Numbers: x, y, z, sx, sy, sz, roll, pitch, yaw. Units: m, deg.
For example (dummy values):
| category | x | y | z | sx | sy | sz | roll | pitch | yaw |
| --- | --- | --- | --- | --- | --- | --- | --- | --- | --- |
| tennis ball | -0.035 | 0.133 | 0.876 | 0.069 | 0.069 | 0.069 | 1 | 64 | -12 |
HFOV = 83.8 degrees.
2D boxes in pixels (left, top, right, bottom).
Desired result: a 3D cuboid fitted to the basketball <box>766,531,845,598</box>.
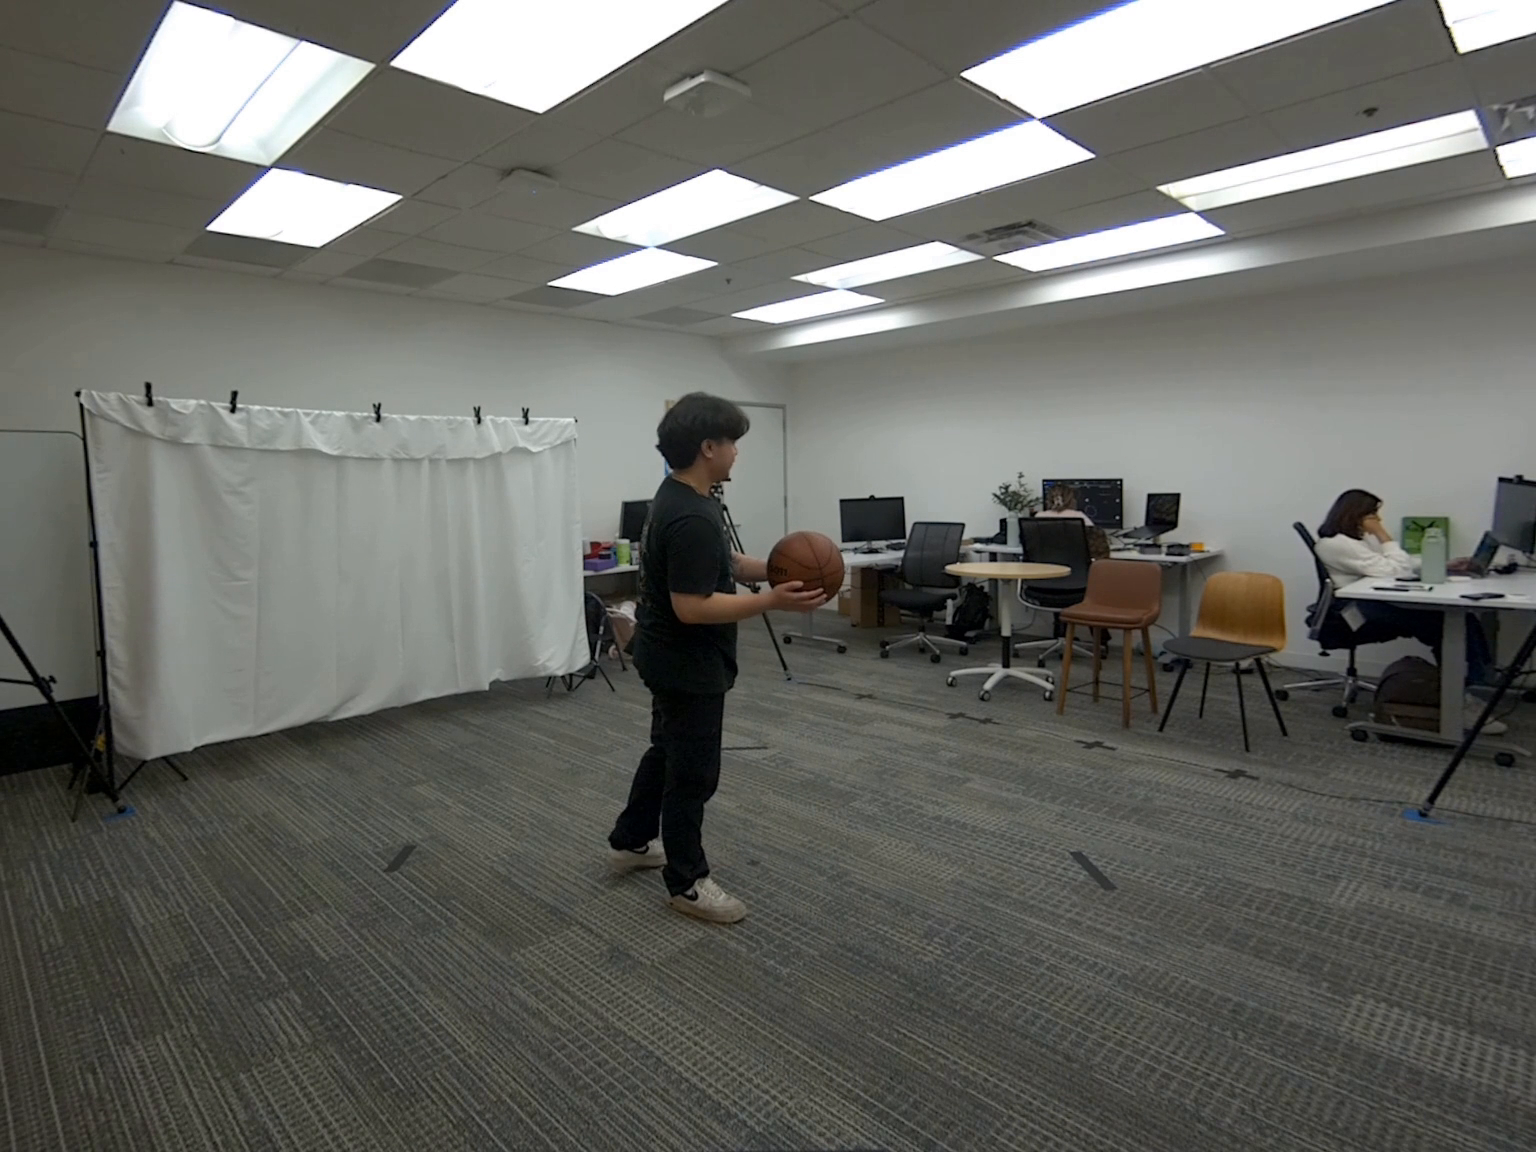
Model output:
| category | x | y | z | sx | sy | sz | roll | pitch | yaw |
| --- | --- | --- | --- | --- | --- | --- | --- | --- | --- |
| basketball | 0.116 | -0.021 | 2.609 | 0.236 | 0.235 | 0.237 | -1 | 5 | -2 |
